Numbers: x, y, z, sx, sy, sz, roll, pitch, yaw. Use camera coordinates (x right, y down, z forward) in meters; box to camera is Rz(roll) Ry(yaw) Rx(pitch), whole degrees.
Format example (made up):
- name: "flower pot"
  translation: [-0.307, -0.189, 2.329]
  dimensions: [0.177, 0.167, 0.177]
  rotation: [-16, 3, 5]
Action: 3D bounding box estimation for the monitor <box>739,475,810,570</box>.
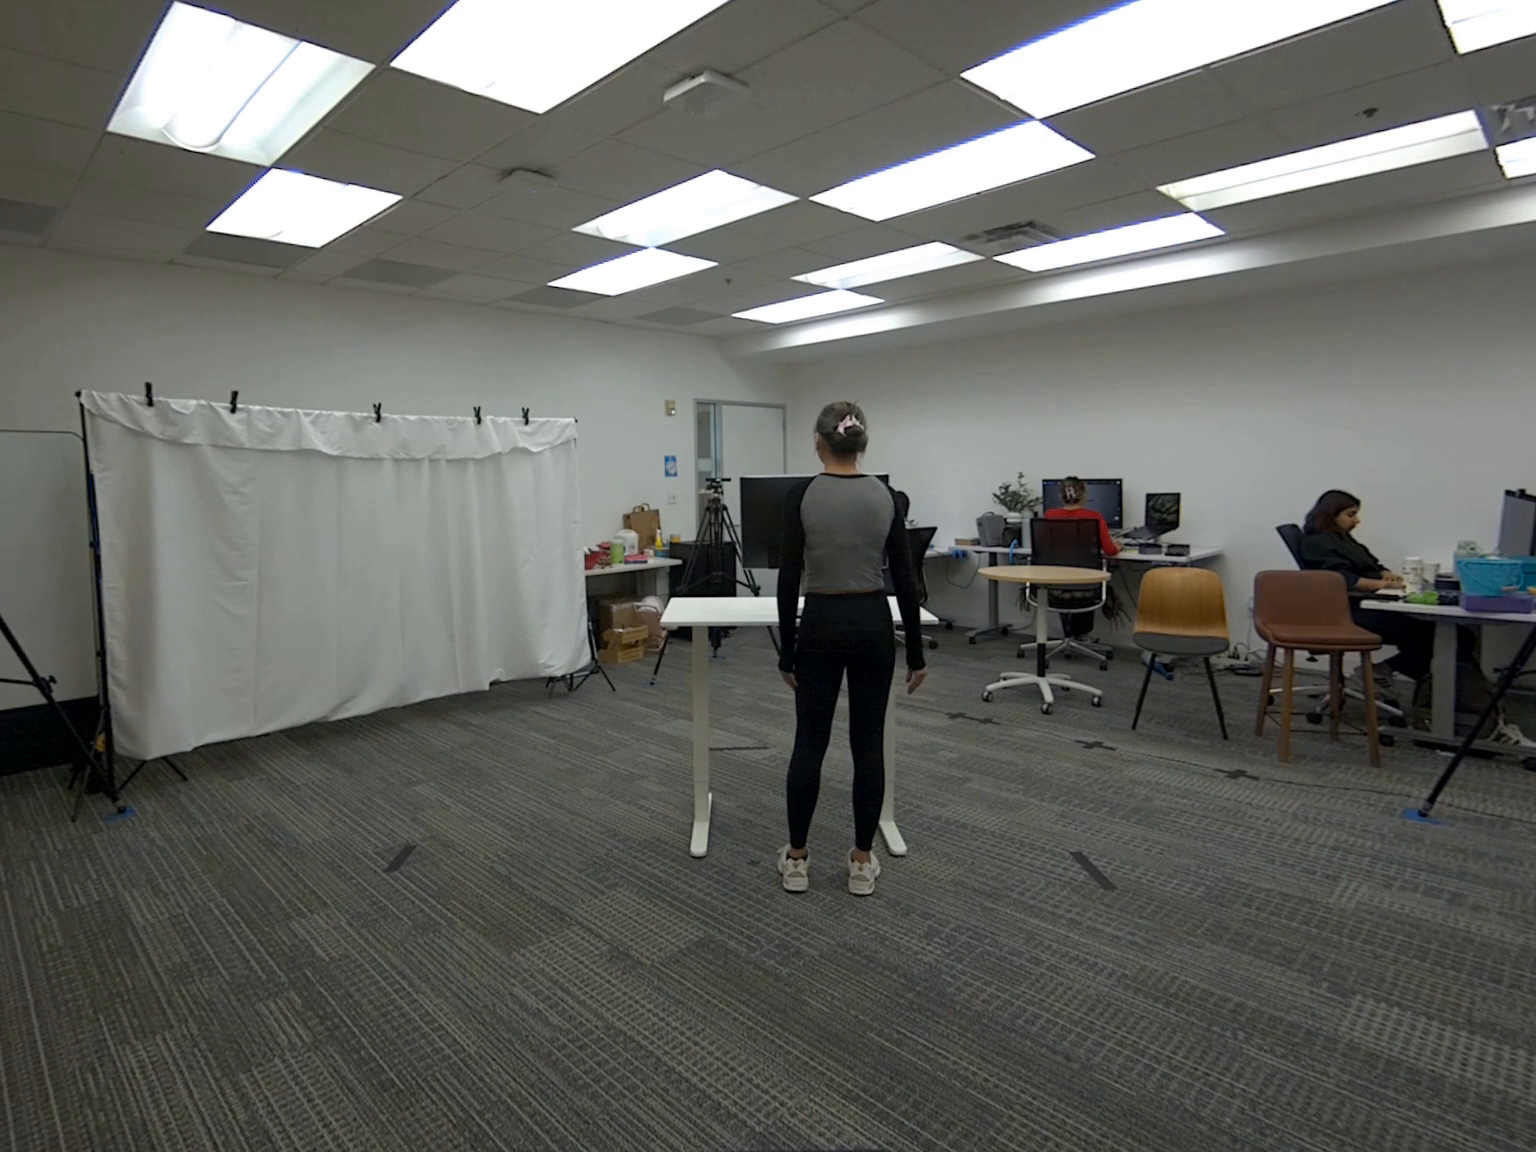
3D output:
- name: "monitor"
  translation: [0.165, -0.110, 3.199]
  dimensions: [0.540, 0.522, 0.187]
  rotation: [0, 2, 1]
